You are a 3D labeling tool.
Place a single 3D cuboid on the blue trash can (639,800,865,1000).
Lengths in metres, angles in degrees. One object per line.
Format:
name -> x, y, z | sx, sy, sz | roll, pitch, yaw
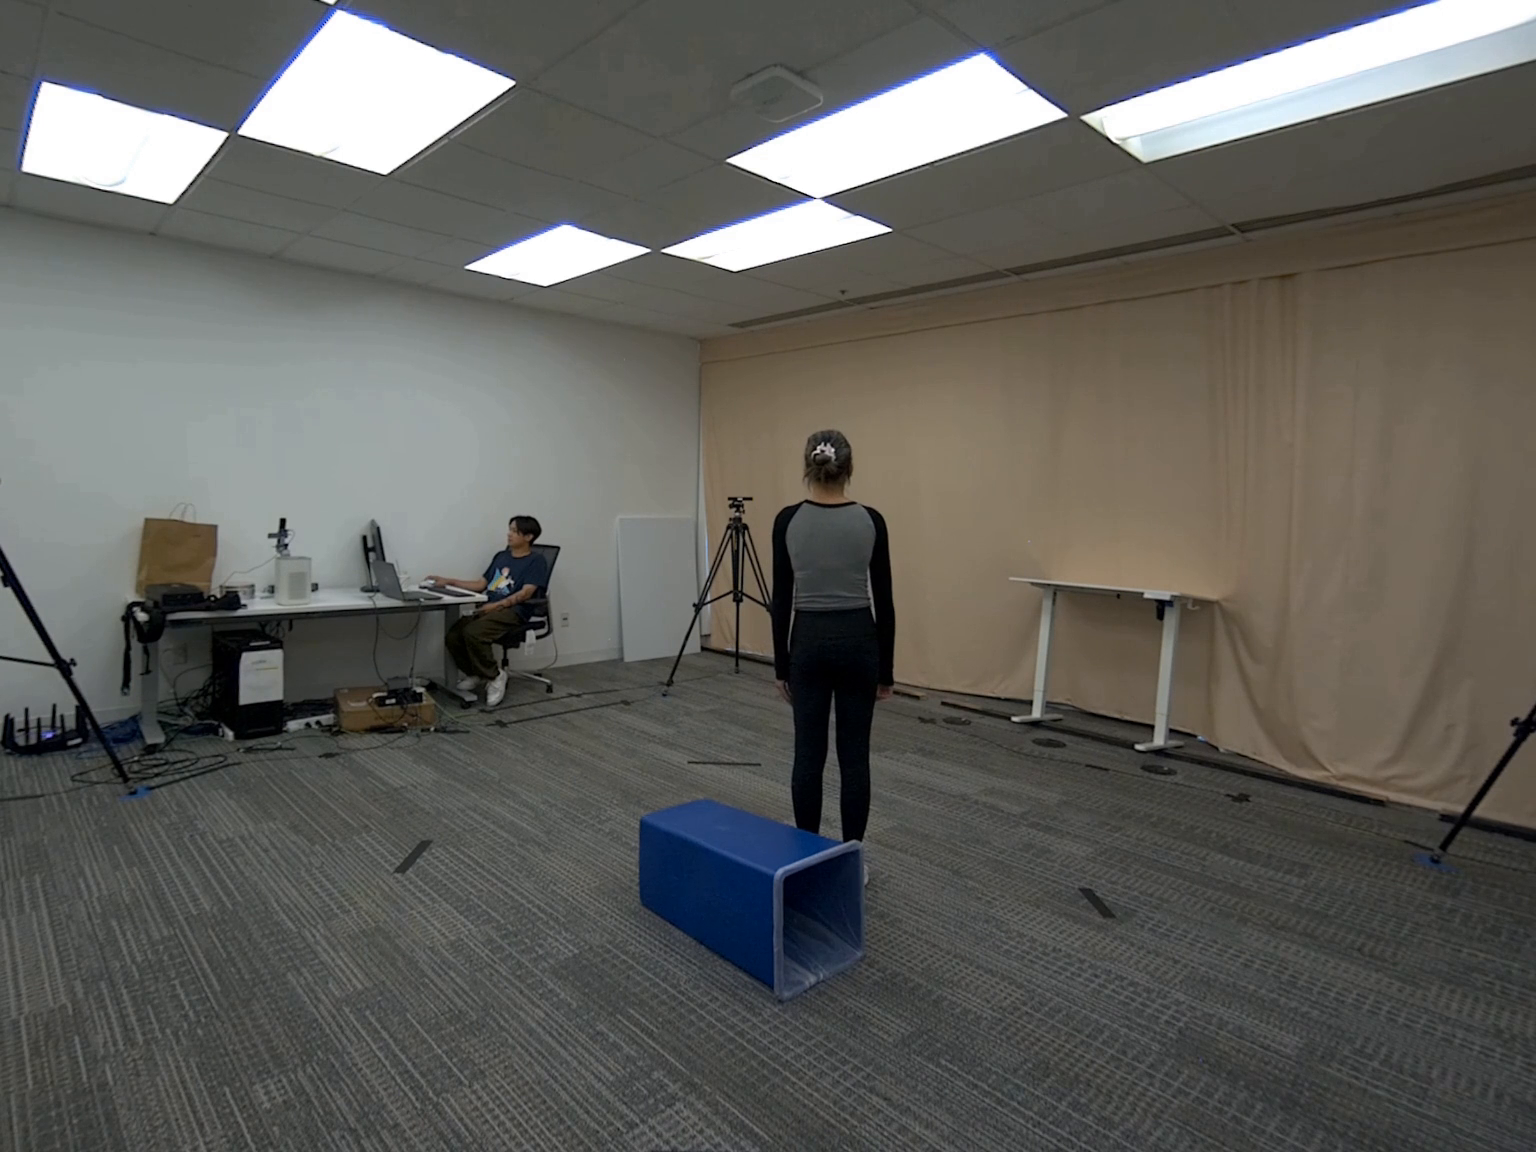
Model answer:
blue trash can -> -0.096, 0.972, 2.698 | 0.369, 0.373, 0.731 | -3, 5, -43
